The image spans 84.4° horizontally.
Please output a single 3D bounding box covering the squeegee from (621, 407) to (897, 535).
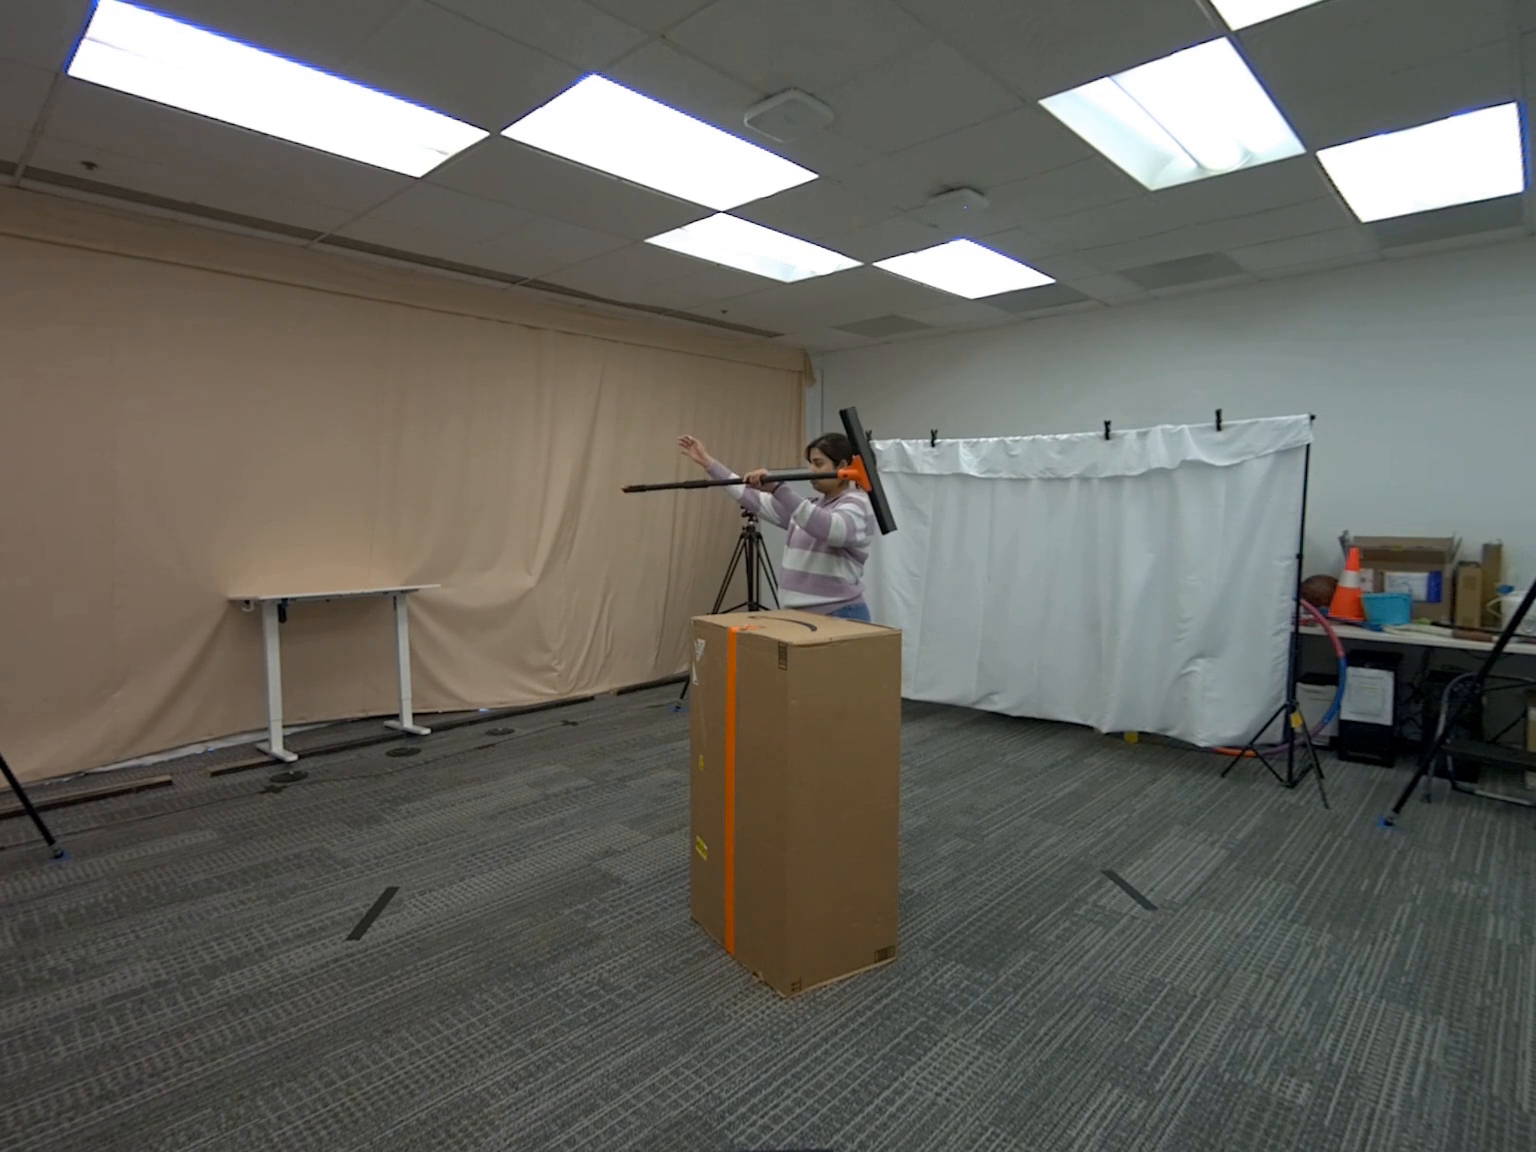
[{"bbox_3d":[-0.156,-0.351,3.268,0.052,0.430,1.587,-35,22,-32],"label":"squeegee"}]
